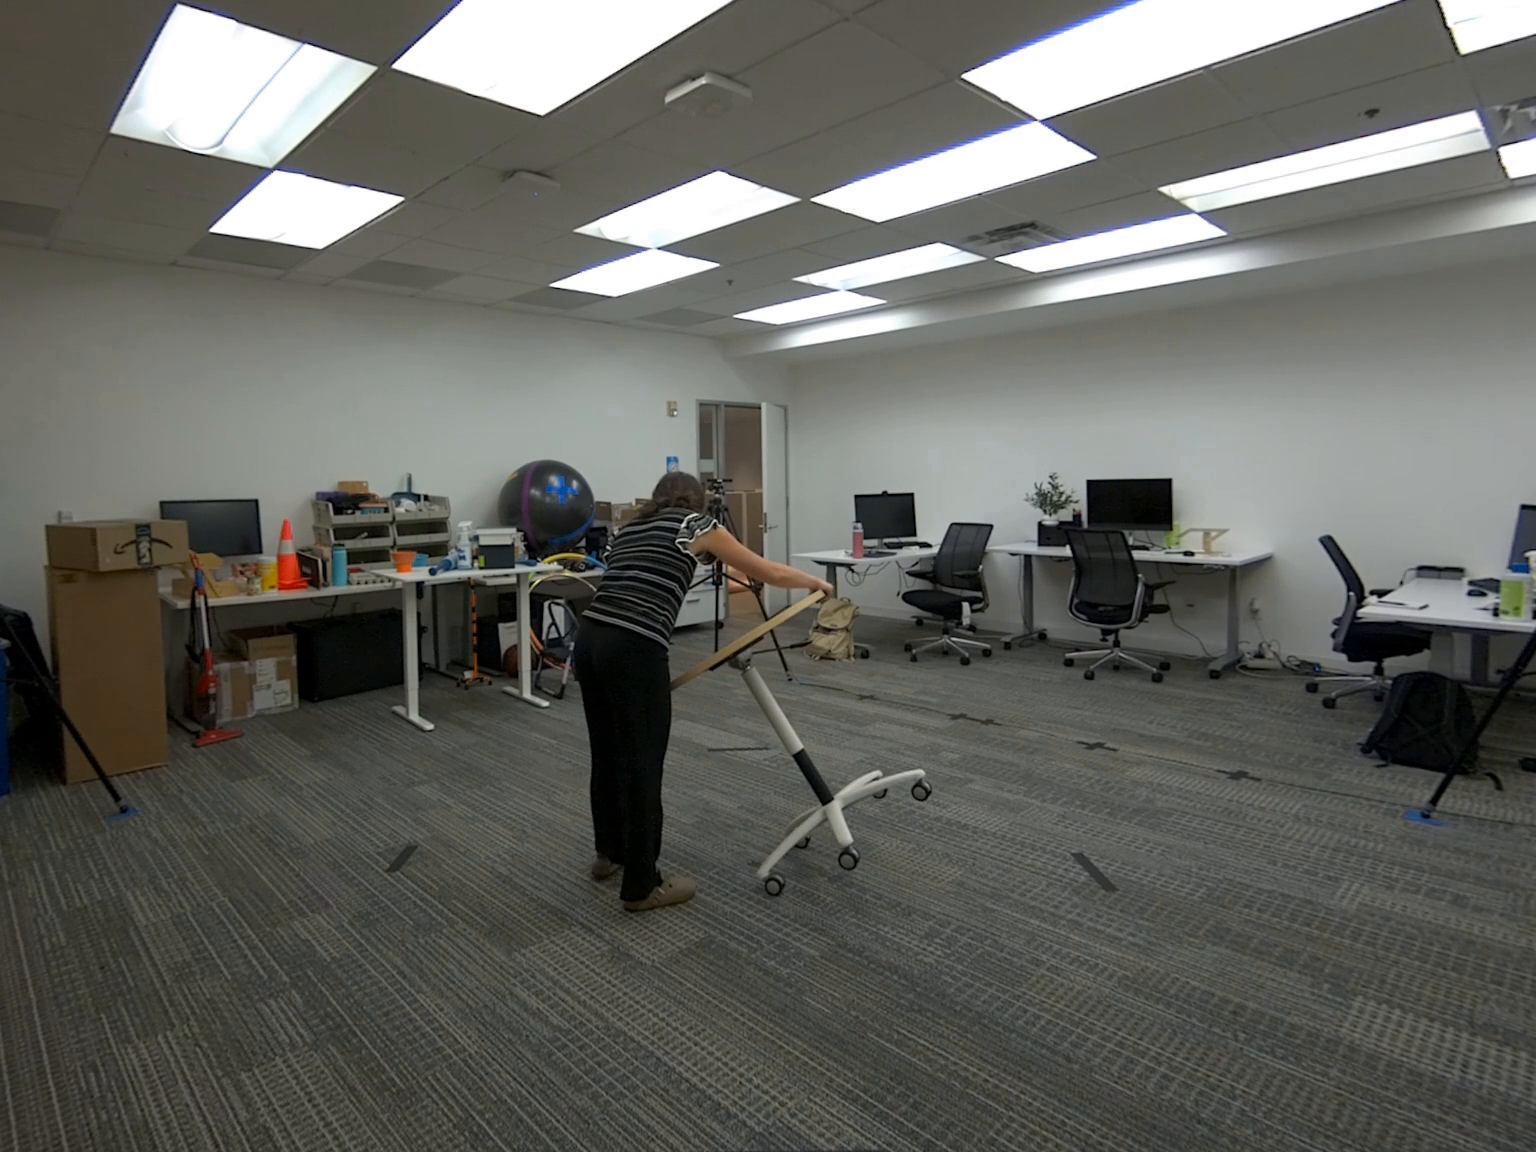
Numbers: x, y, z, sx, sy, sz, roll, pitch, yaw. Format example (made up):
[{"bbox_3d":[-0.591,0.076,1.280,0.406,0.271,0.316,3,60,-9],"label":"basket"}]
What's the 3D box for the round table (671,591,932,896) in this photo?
[{"bbox_3d":[0.083,0.586,3.035,0.762,0.801,0.759,-31,-6,-5],"label":"round table"}]
